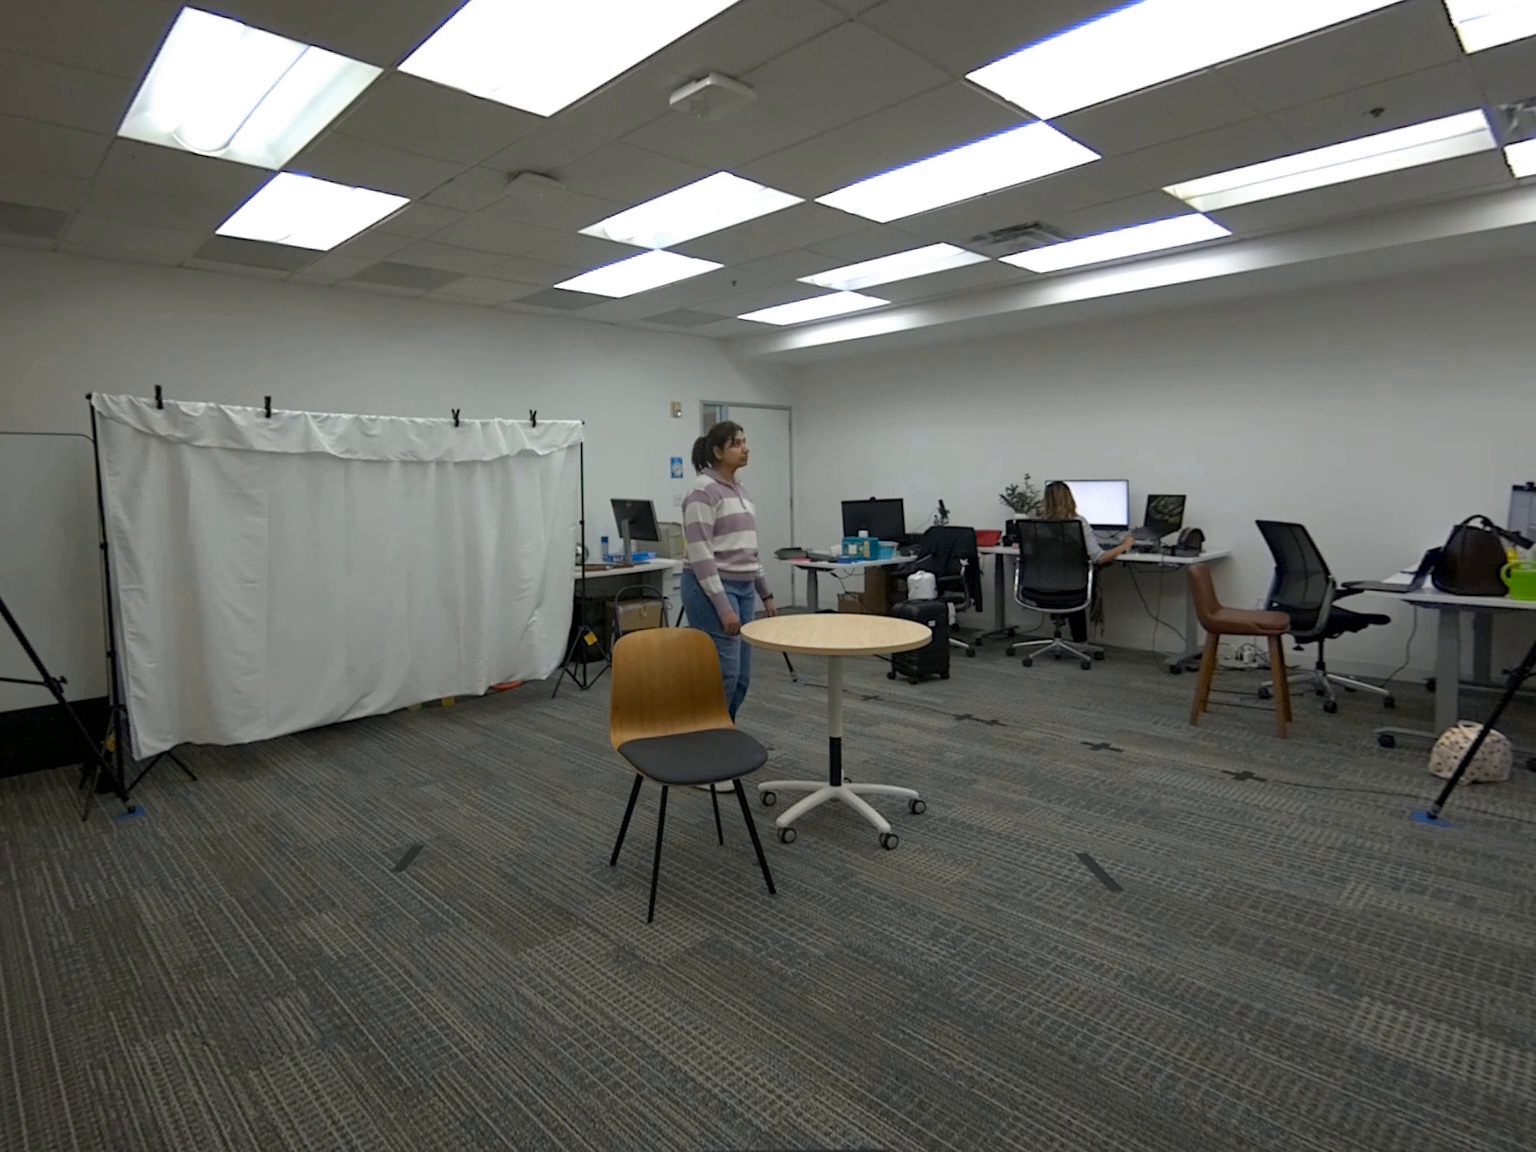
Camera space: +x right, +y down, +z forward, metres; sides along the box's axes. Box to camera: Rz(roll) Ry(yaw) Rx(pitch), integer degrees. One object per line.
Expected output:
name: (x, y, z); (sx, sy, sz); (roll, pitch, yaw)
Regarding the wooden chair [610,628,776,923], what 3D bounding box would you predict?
wooden chair: (-0.280, 0.645, 2.955); (0.468, 0.877, 0.534); (-3, 0, -25)
